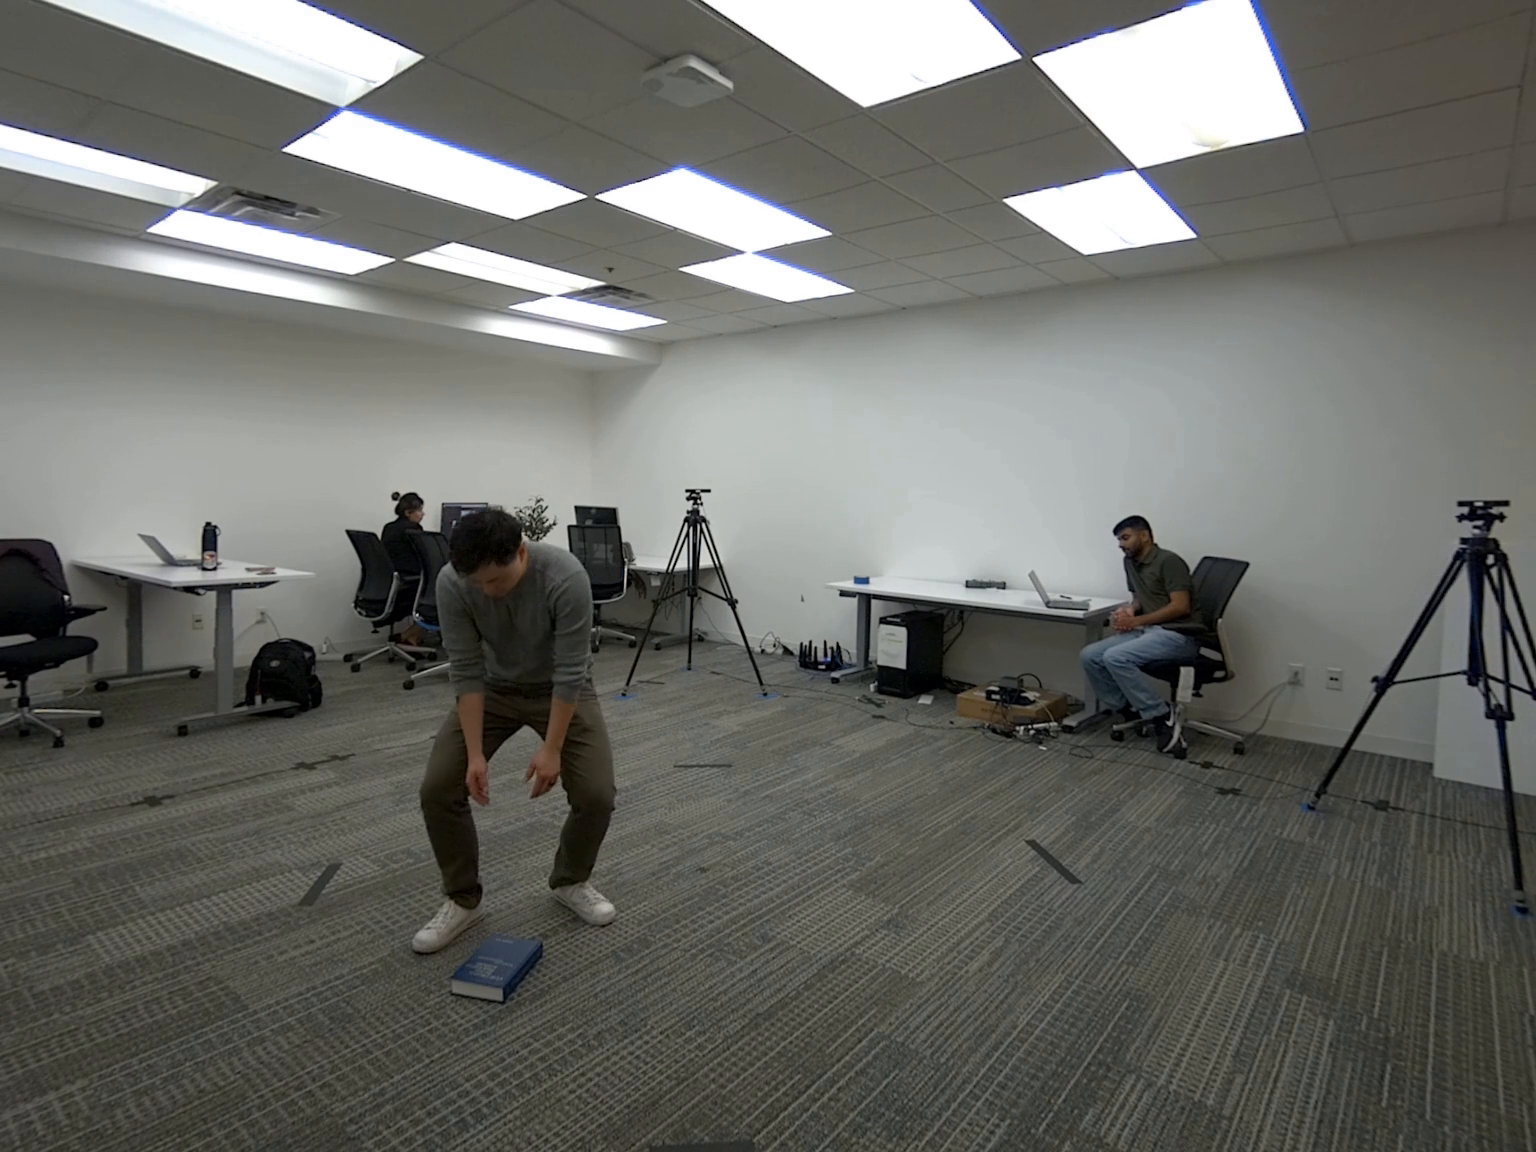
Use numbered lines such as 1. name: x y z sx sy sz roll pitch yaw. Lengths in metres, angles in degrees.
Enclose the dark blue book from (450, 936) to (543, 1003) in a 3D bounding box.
1. dark blue book: -0.778 1.112 2.414 0.165 0.045 0.242 1 5 11
